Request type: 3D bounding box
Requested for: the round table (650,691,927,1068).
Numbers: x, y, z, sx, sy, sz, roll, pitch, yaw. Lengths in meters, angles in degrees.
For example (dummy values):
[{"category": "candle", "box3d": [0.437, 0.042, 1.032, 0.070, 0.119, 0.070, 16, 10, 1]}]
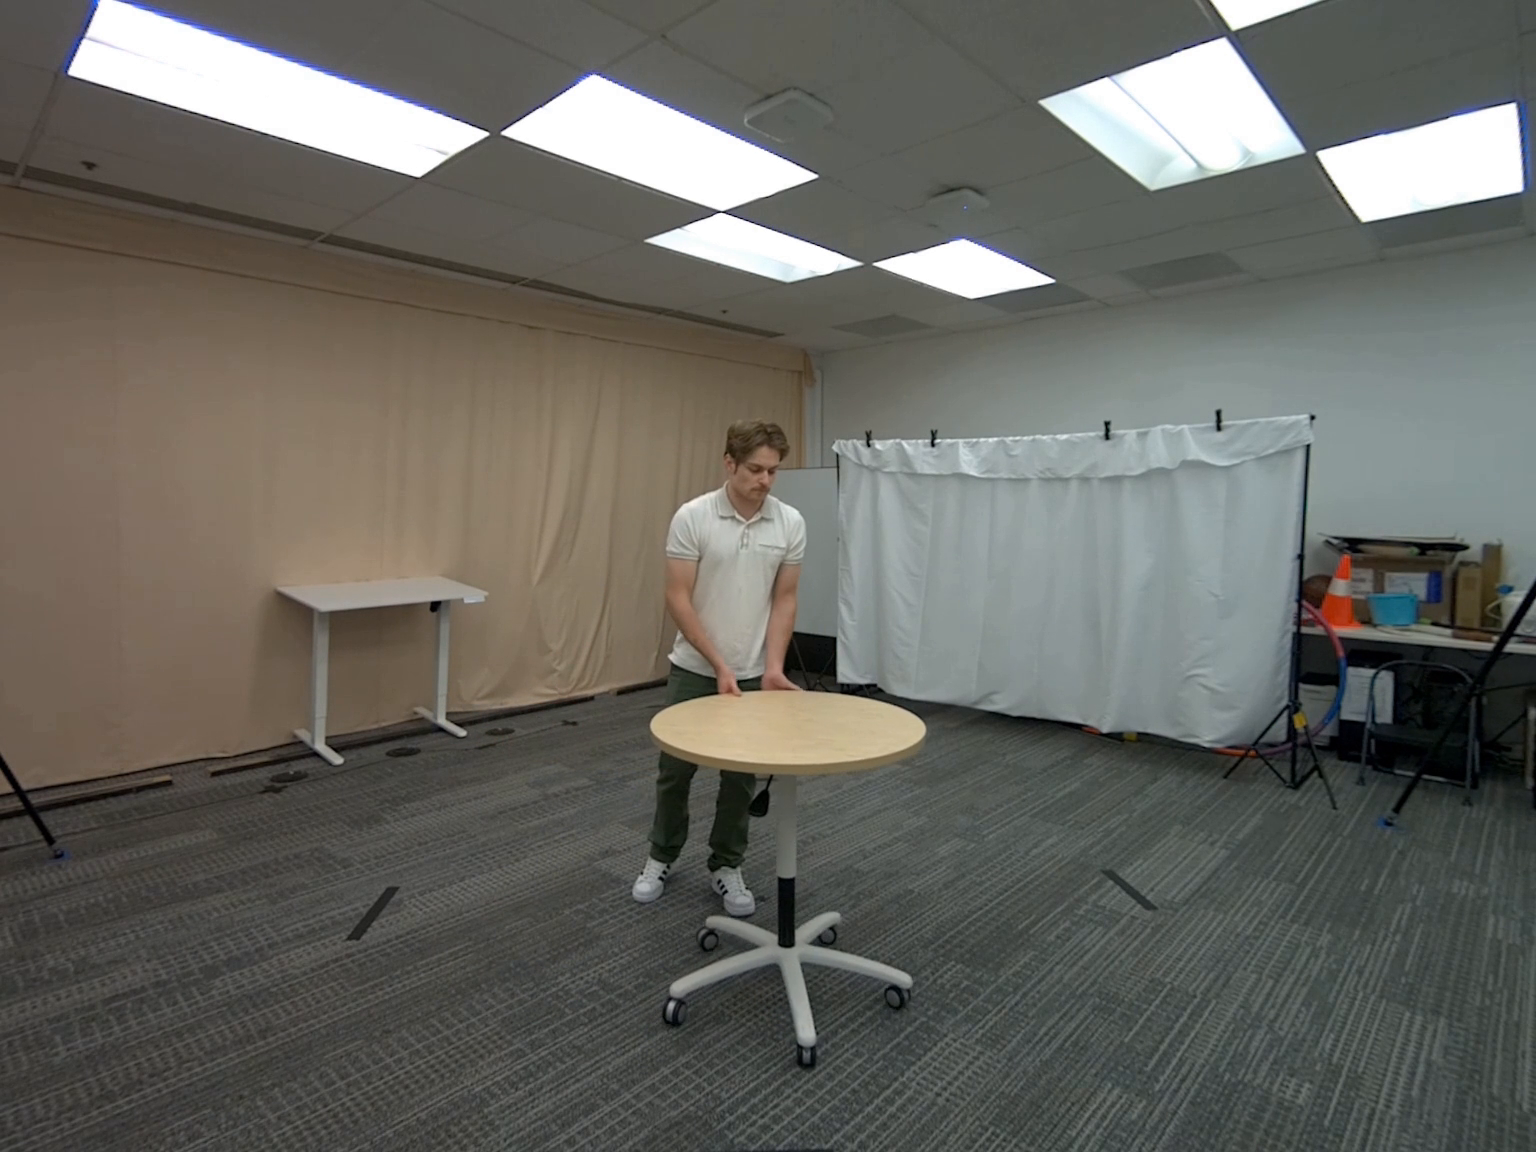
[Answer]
[{"category": "round table", "box3d": [0.060, 0.805, 2.389, 0.763, 0.792, 0.767, 0, 4, -2]}]
